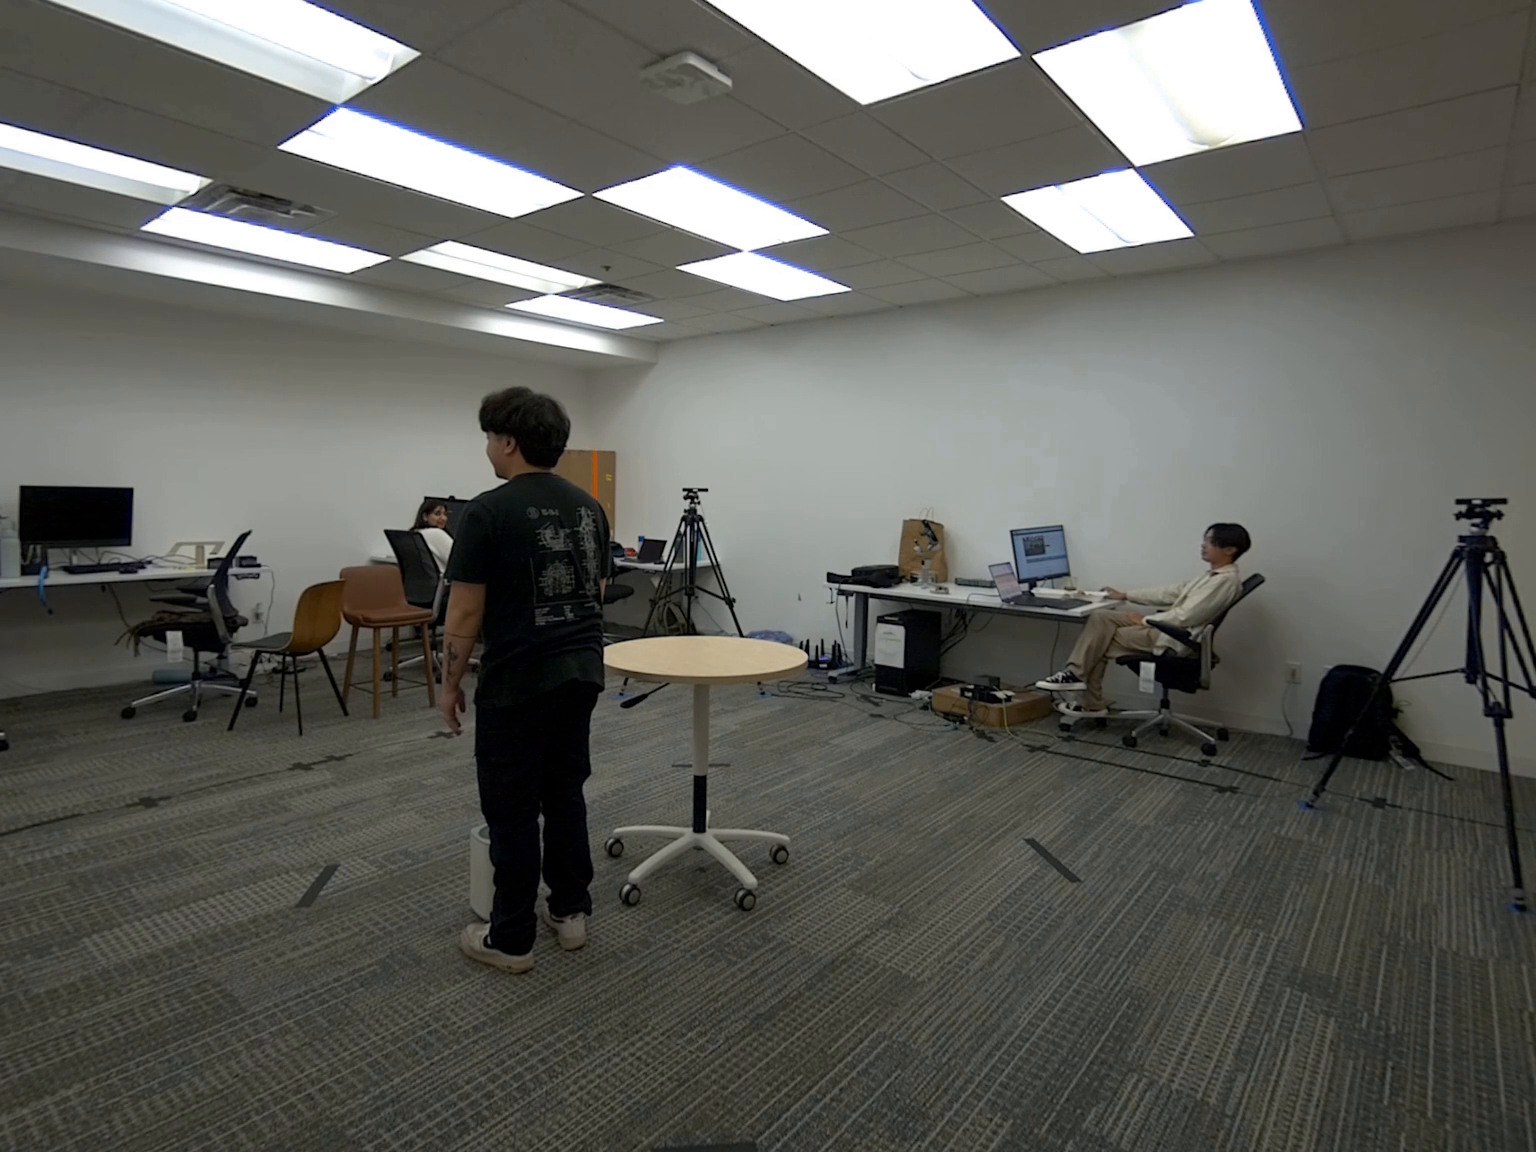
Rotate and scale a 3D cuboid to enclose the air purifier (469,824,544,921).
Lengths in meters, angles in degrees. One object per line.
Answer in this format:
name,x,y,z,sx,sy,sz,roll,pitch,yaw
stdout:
air purifier,-0.886,0.960,2.775,0.166,0.265,0.177,-1,3,-42
